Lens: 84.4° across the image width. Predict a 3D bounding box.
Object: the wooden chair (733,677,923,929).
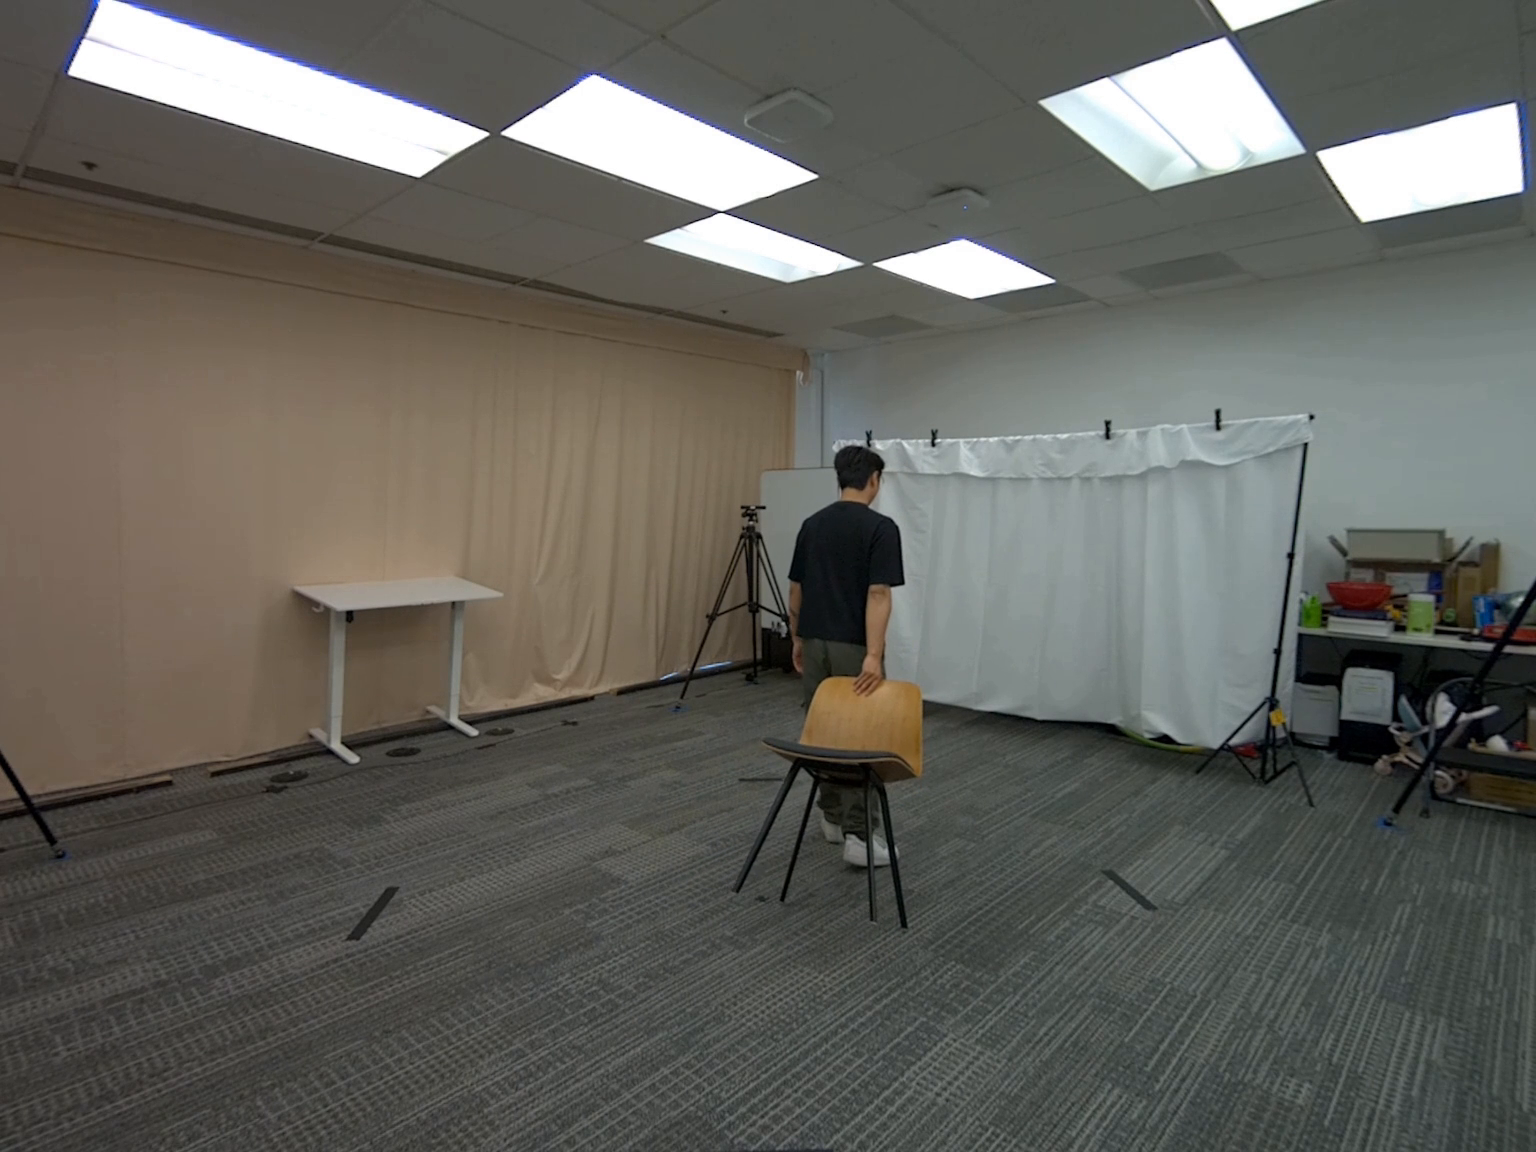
[{"bbox_3d":[0.248,0.665,2.816,0.490,0.884,0.506,1,-27,25],"label":"wooden chair"}]
